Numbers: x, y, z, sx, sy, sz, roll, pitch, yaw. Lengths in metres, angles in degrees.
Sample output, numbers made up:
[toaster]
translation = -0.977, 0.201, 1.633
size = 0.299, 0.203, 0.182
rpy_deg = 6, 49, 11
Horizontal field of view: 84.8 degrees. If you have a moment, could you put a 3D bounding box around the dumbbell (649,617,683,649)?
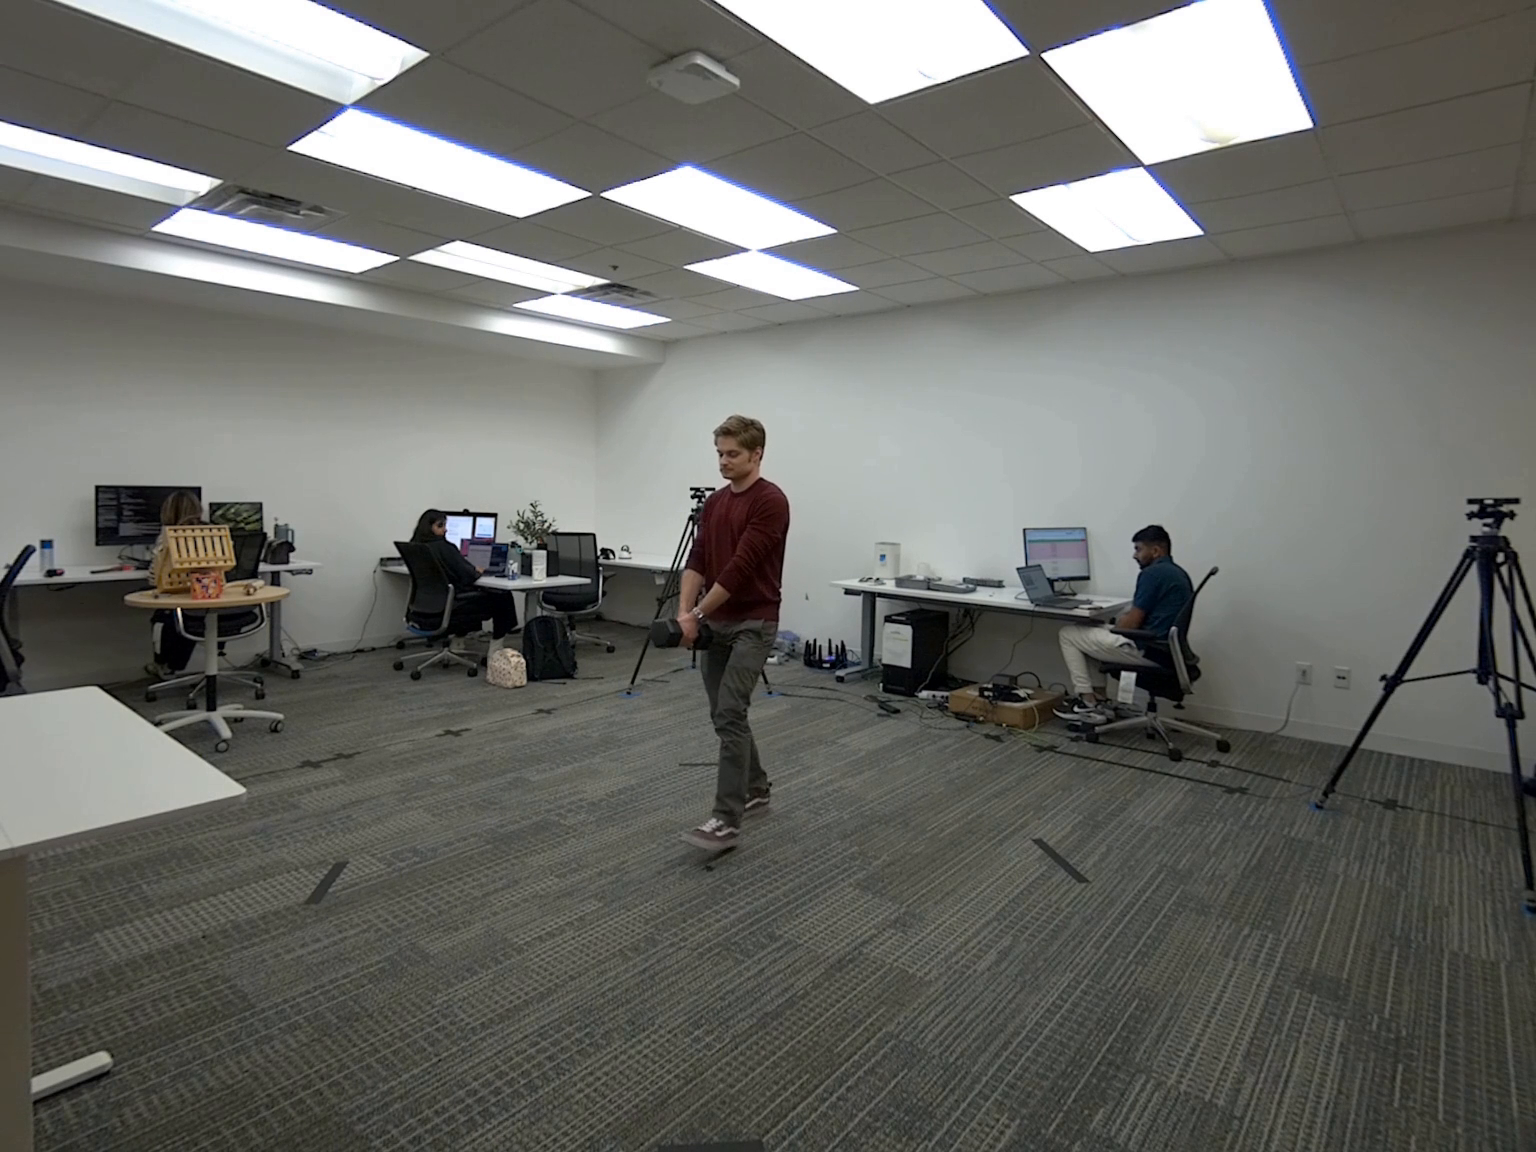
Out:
[dumbbell]
translation = -0.347, 0.233, 3.324
size = 0.109, 0.127, 0.283
rpy_deg = -40, -28, 23
